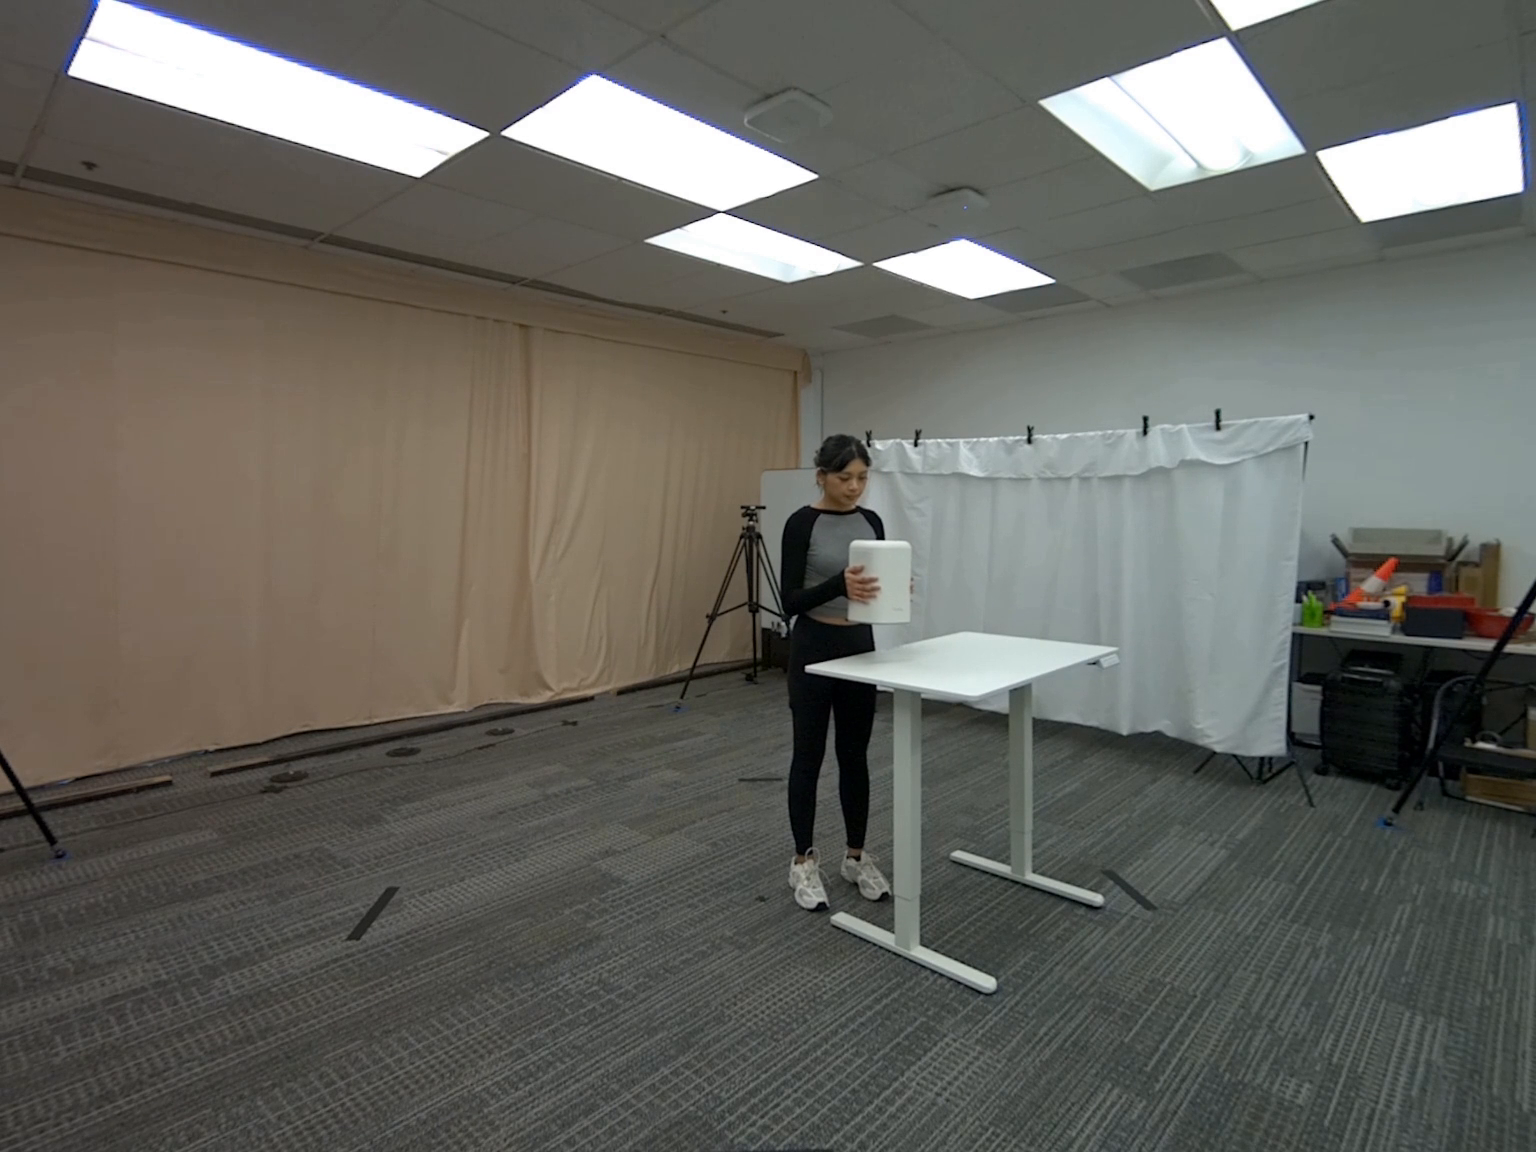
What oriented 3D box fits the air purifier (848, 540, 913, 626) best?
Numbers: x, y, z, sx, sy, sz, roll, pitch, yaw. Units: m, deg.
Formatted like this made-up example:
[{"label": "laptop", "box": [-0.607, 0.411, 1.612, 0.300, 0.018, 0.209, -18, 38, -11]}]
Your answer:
[{"label": "air purifier", "box": [0.359, 0.017, 2.740, 0.166, 0.265, 0.177, -1, 2, -34]}]
